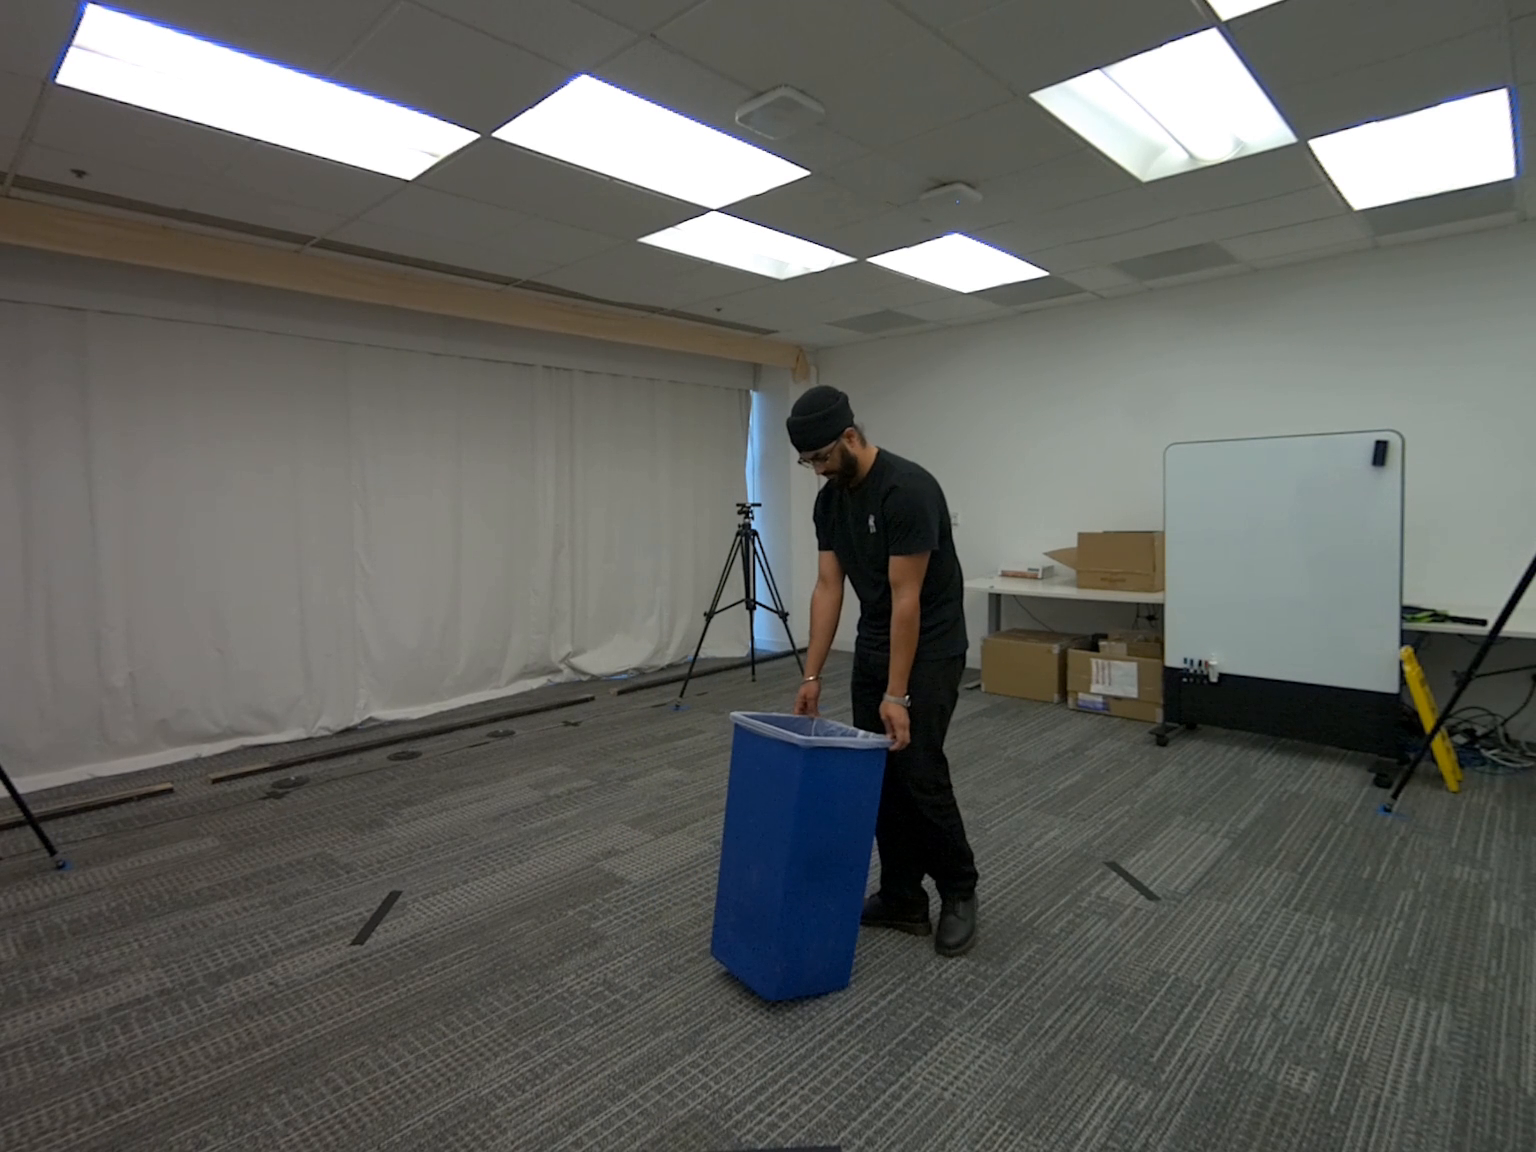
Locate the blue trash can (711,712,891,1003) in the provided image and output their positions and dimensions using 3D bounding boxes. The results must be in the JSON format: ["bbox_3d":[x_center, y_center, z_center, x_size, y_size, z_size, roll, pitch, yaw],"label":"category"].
[{"bbox_3d":[0.083,0.799,2.484,0.362,0.714,0.390,10,-4,-37],"label":"blue trash can"}]
